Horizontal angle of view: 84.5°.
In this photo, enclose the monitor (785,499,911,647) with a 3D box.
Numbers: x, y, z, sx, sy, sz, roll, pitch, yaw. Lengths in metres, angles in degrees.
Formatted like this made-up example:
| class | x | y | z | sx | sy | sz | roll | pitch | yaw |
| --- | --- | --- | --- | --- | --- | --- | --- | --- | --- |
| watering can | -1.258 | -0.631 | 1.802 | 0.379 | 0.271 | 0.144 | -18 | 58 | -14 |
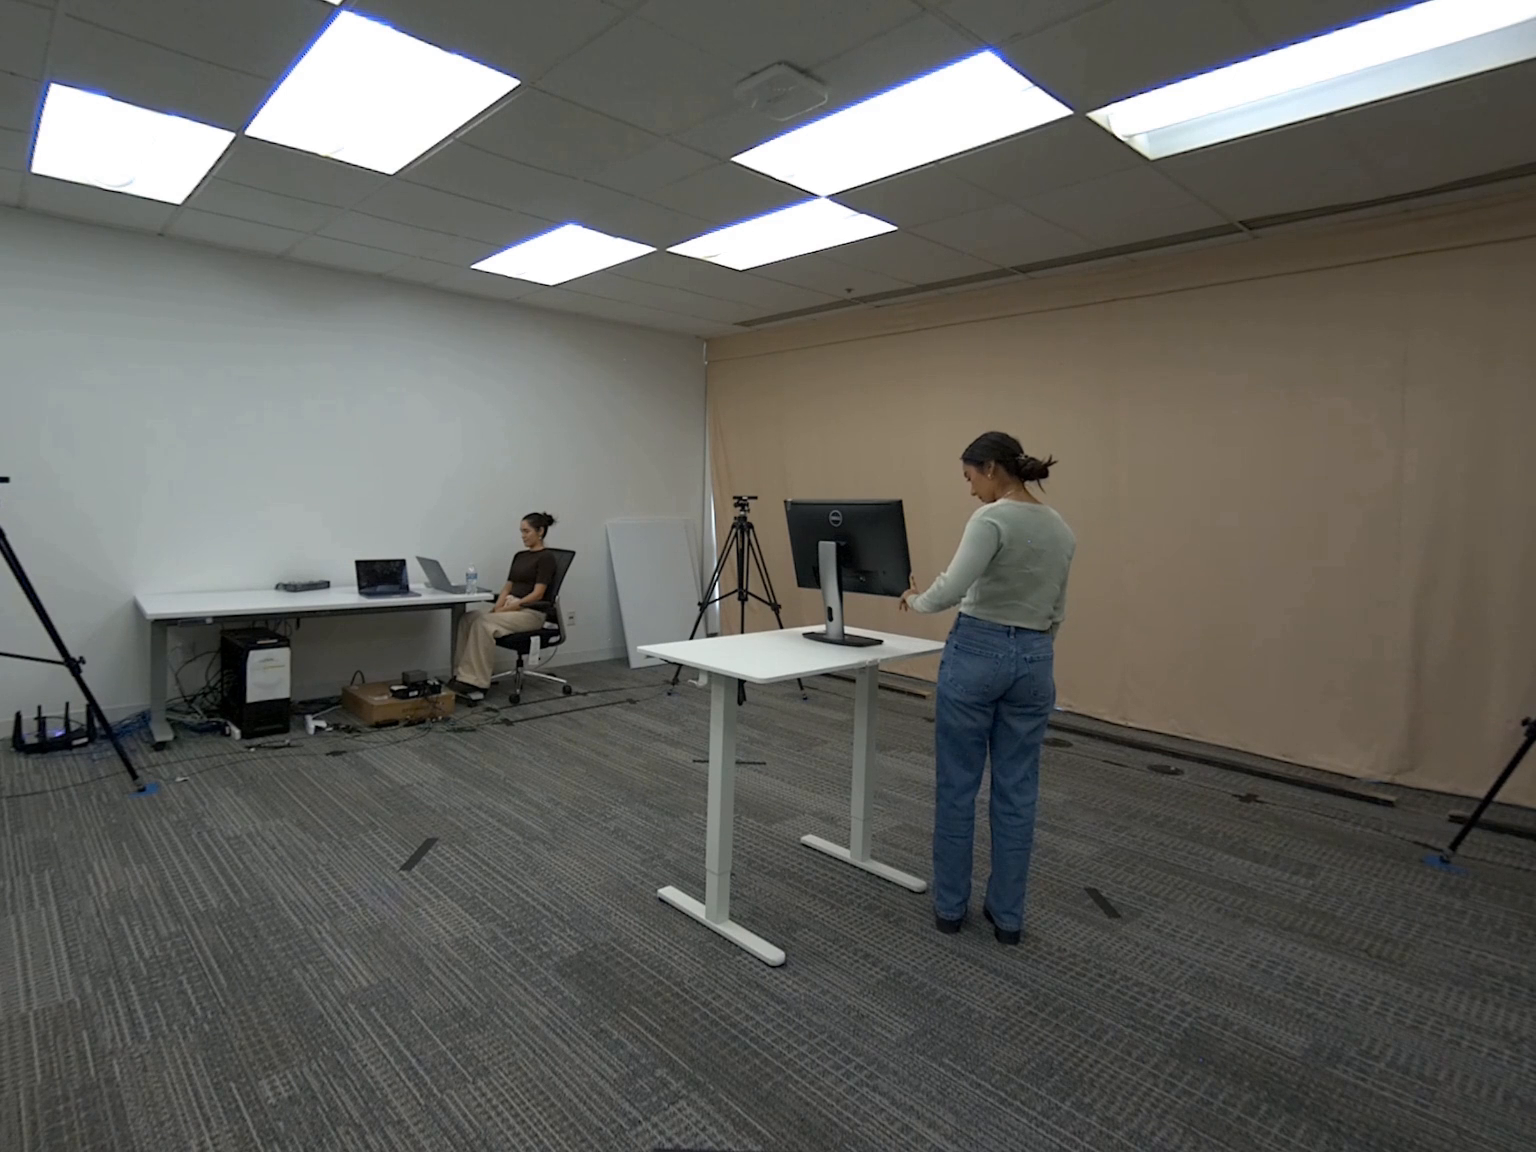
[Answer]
| class | x | y | z | sx | sy | sz | roll | pitch | yaw |
| --- | --- | --- | --- | --- | --- | --- | --- | --- | --- |
| monitor | 0.246 | -0.013 | 3.040 | 0.183 | 0.520 | 0.553 | -5 | 7 | -43 |
